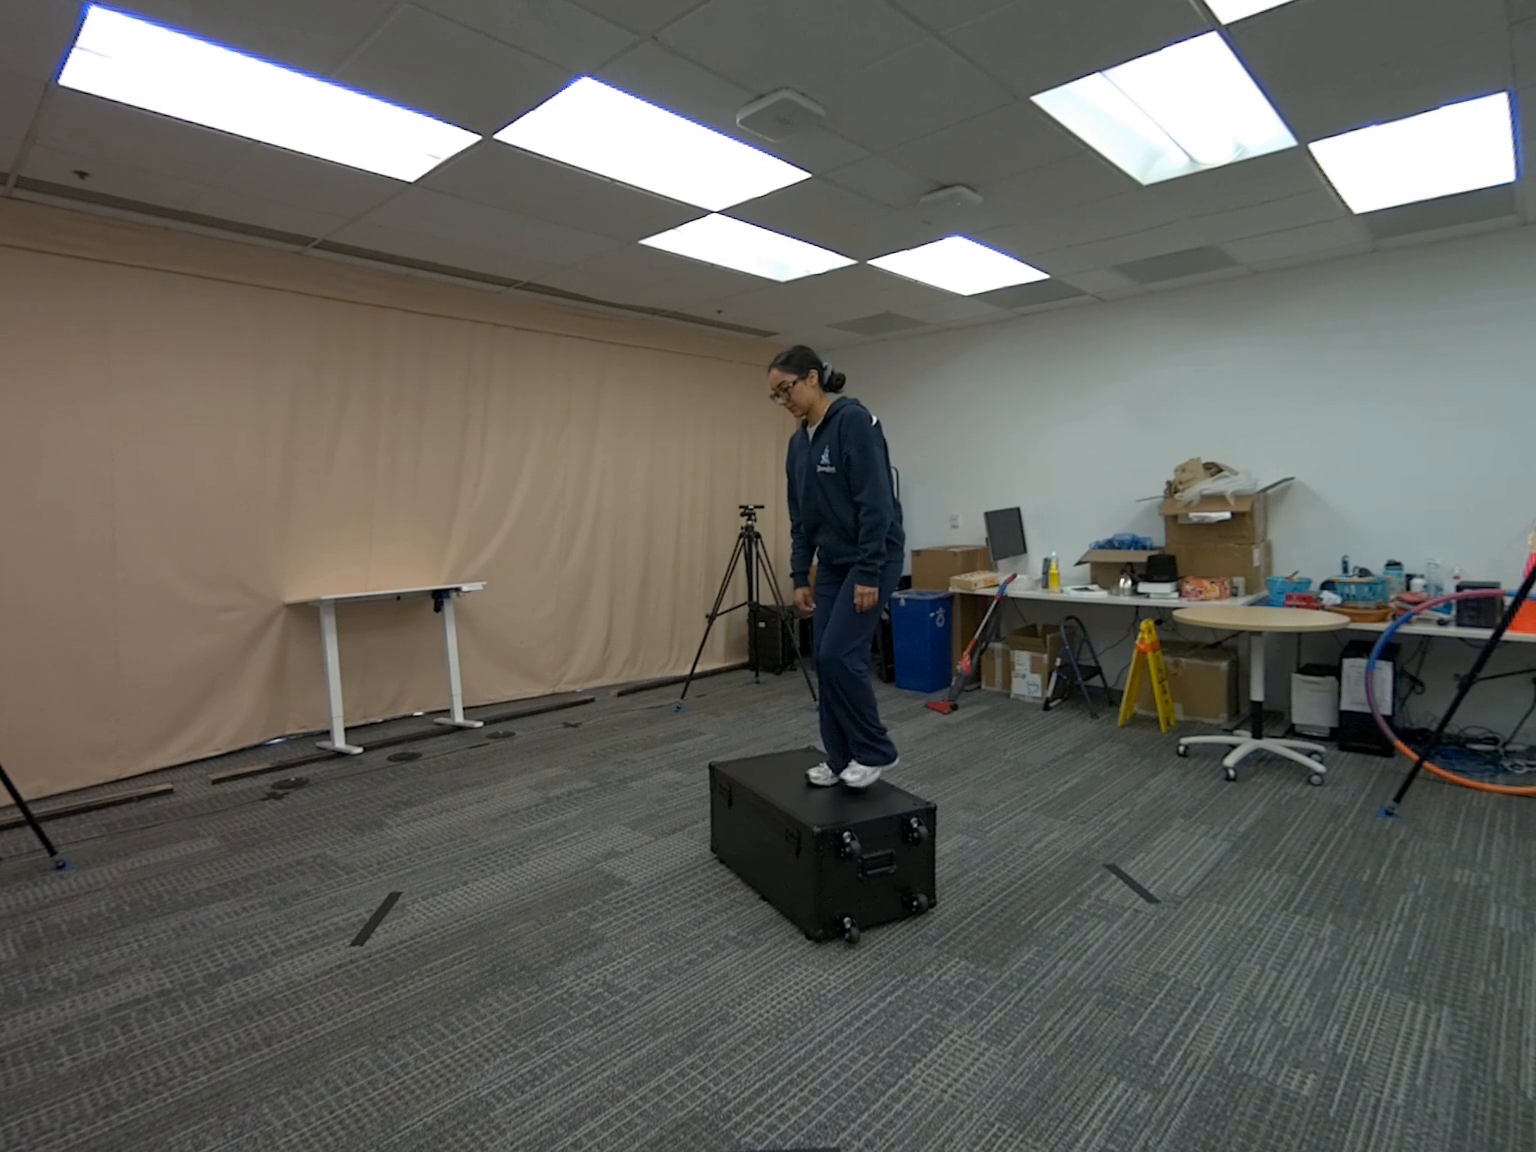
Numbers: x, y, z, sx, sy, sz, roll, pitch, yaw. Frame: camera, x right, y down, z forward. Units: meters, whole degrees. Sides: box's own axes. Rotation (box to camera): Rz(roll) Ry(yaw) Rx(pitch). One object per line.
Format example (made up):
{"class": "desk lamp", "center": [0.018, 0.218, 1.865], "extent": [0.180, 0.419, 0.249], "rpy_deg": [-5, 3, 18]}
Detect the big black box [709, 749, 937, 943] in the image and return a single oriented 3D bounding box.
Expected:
{"class": "big black box", "center": [0.196, 0.952, 3.059], "extent": [0.386, 0.520, 0.886], "rpy_deg": [-4, 5, -30]}
